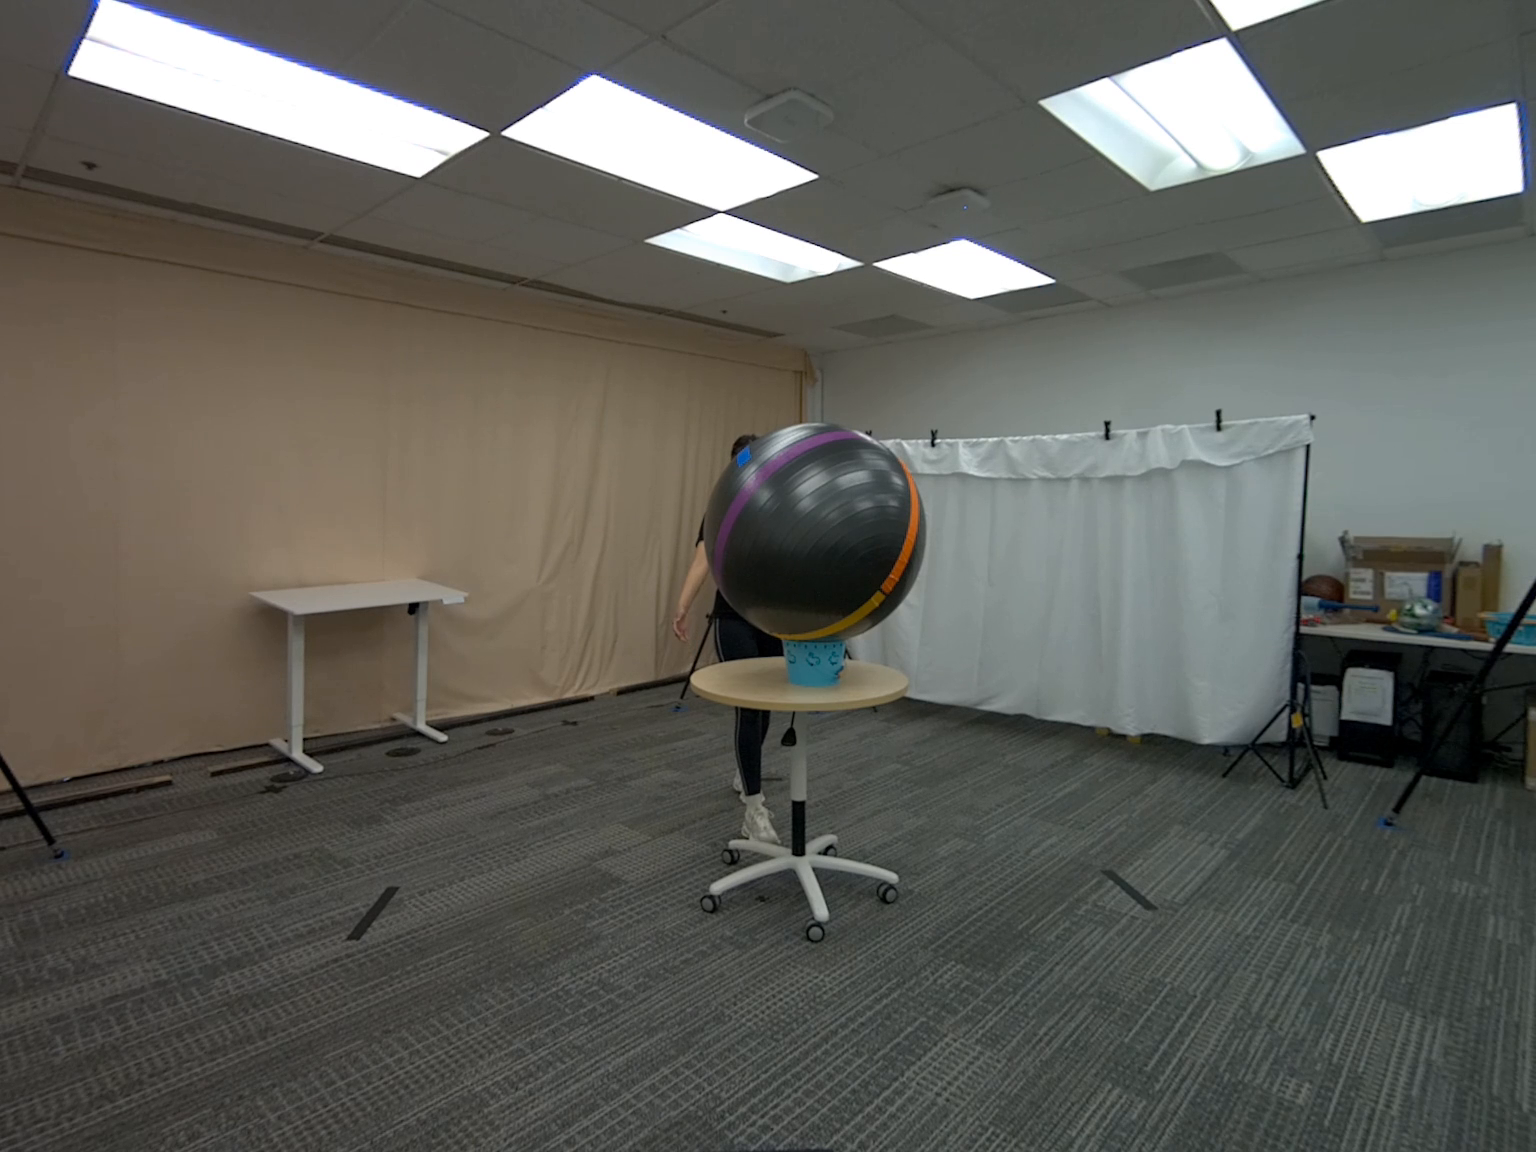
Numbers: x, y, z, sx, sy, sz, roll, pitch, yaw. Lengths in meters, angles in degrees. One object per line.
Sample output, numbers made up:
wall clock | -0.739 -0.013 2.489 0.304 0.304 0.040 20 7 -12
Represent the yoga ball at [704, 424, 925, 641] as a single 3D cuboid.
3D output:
yoga ball | 0.158 -0.139 2.901 0.757 0.756 0.761 0 4 -2
